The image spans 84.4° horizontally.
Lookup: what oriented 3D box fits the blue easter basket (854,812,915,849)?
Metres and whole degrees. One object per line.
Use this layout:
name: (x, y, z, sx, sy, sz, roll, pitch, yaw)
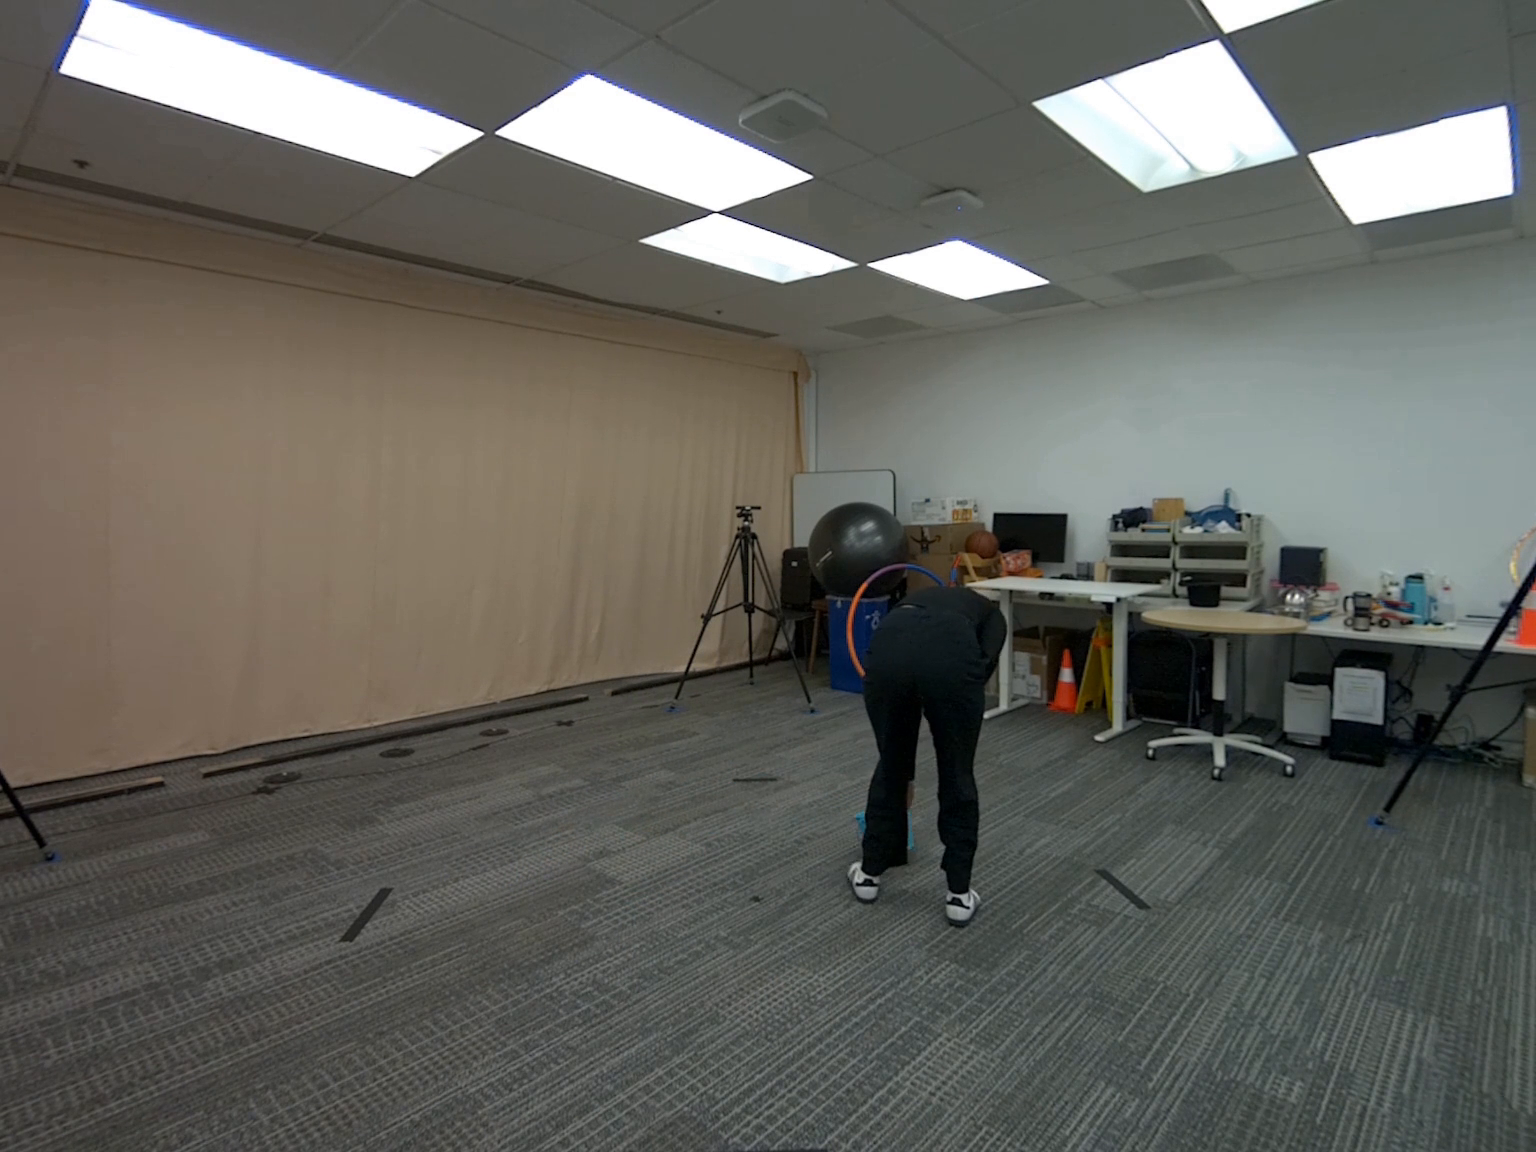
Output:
blue easter basket: (0.477, 1.011, 3.367, 0.243, 0.157, 0.242, -10, -9, -4)
